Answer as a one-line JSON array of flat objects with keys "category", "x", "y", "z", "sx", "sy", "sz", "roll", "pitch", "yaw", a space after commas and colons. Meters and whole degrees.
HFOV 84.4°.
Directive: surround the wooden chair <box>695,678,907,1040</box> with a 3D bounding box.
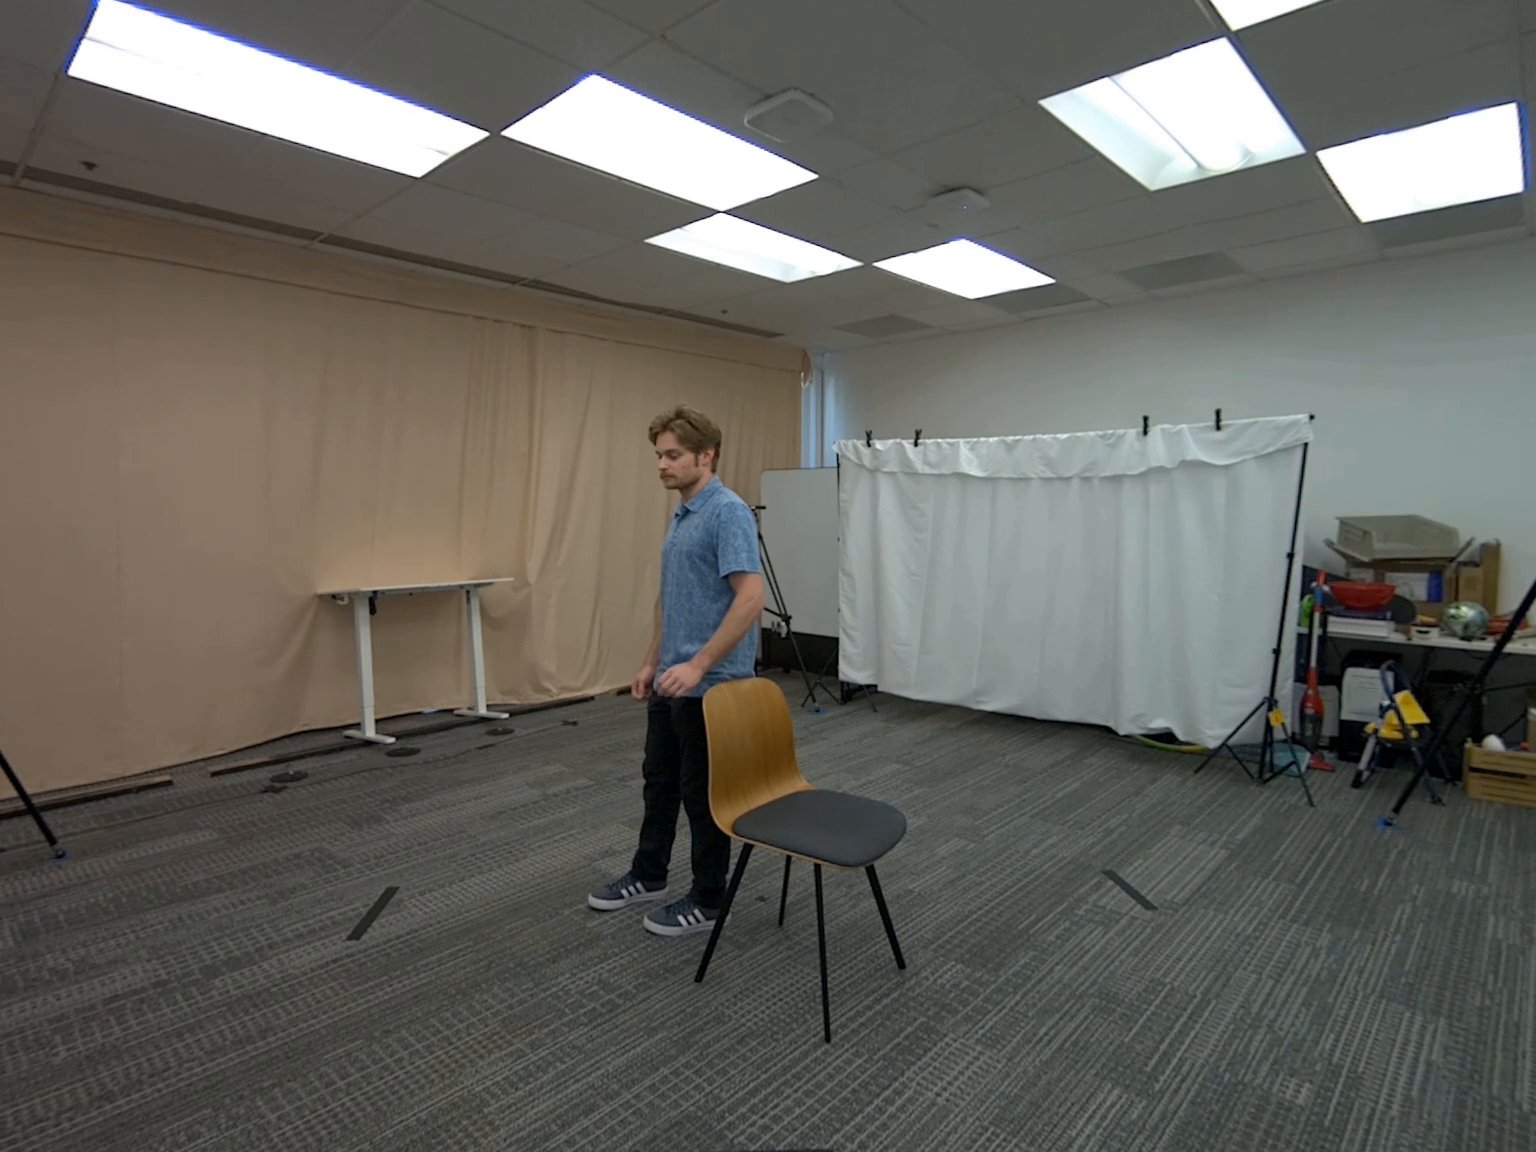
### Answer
[{"category": "wooden chair", "x": 0.117, "y": 0.760, "z": 2.461, "sx": 0.539, "sy": 0.877, "sz": 0.464, "roll": -3, "pitch": 0, "yaw": 36}]
